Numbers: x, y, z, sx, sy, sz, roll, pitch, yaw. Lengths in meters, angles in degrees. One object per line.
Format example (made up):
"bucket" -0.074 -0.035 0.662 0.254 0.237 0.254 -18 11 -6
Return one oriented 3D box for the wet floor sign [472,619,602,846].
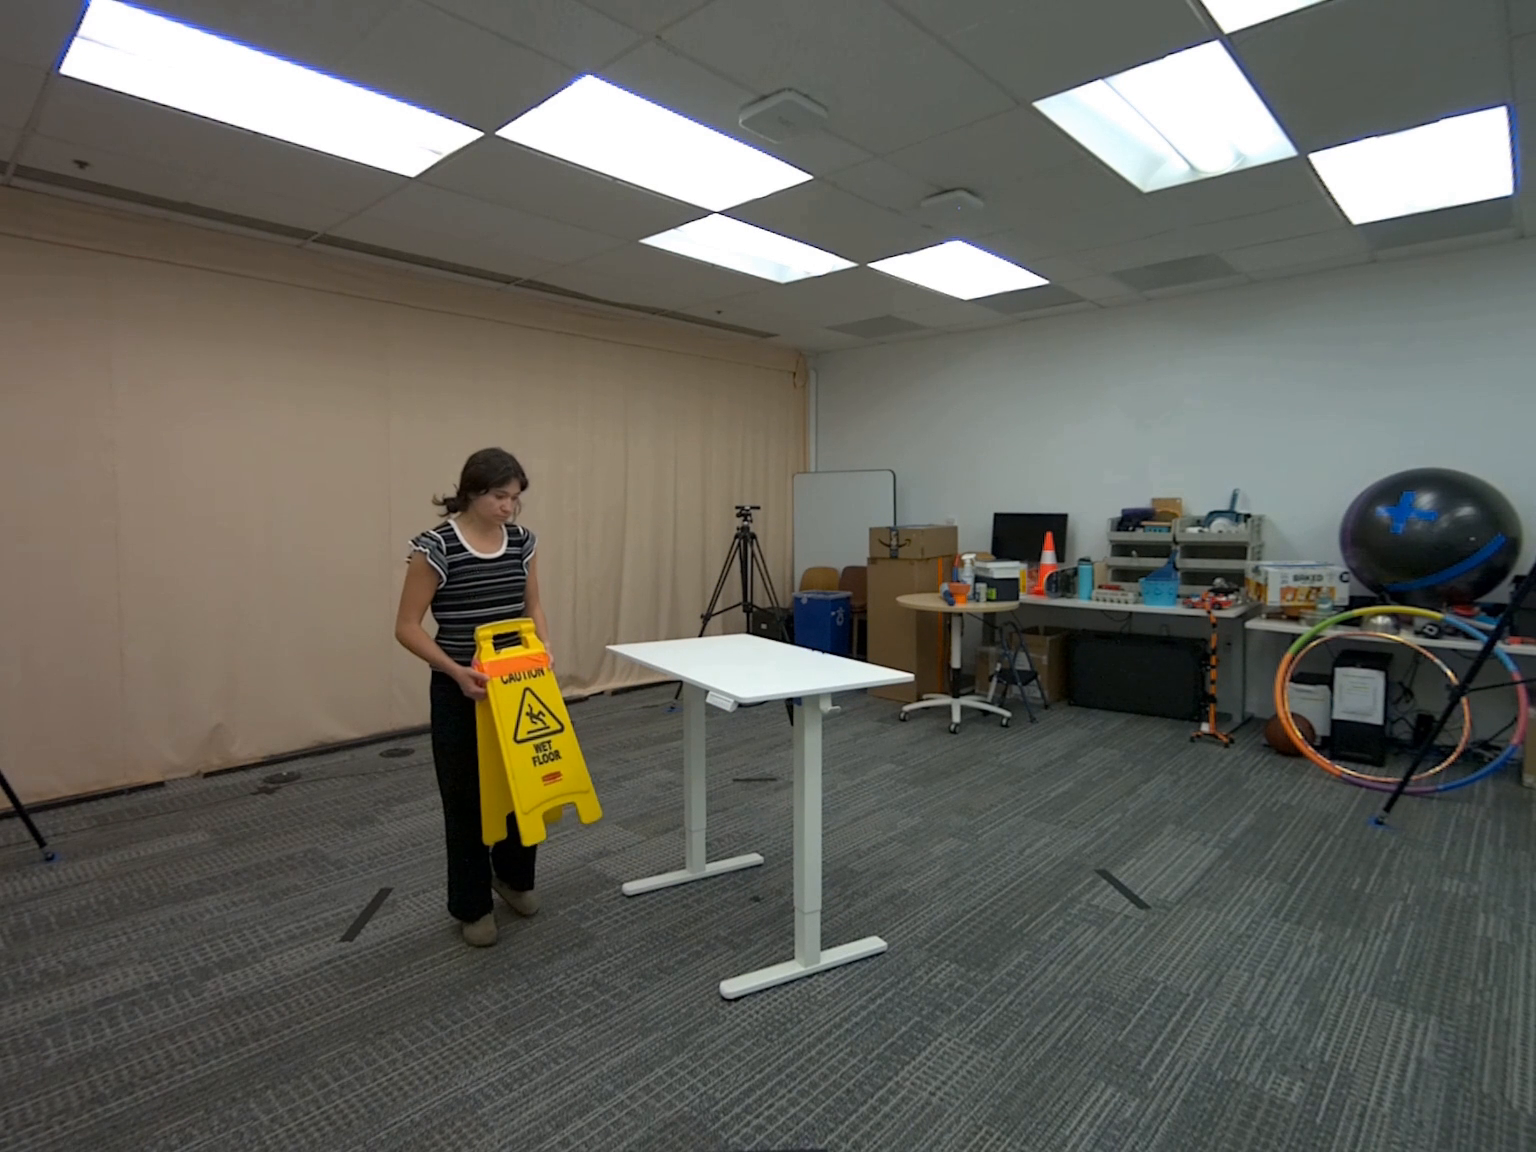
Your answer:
"wet floor sign" -0.748 0.467 2.587 0.297 0.649 0.274 -16 -7 44
